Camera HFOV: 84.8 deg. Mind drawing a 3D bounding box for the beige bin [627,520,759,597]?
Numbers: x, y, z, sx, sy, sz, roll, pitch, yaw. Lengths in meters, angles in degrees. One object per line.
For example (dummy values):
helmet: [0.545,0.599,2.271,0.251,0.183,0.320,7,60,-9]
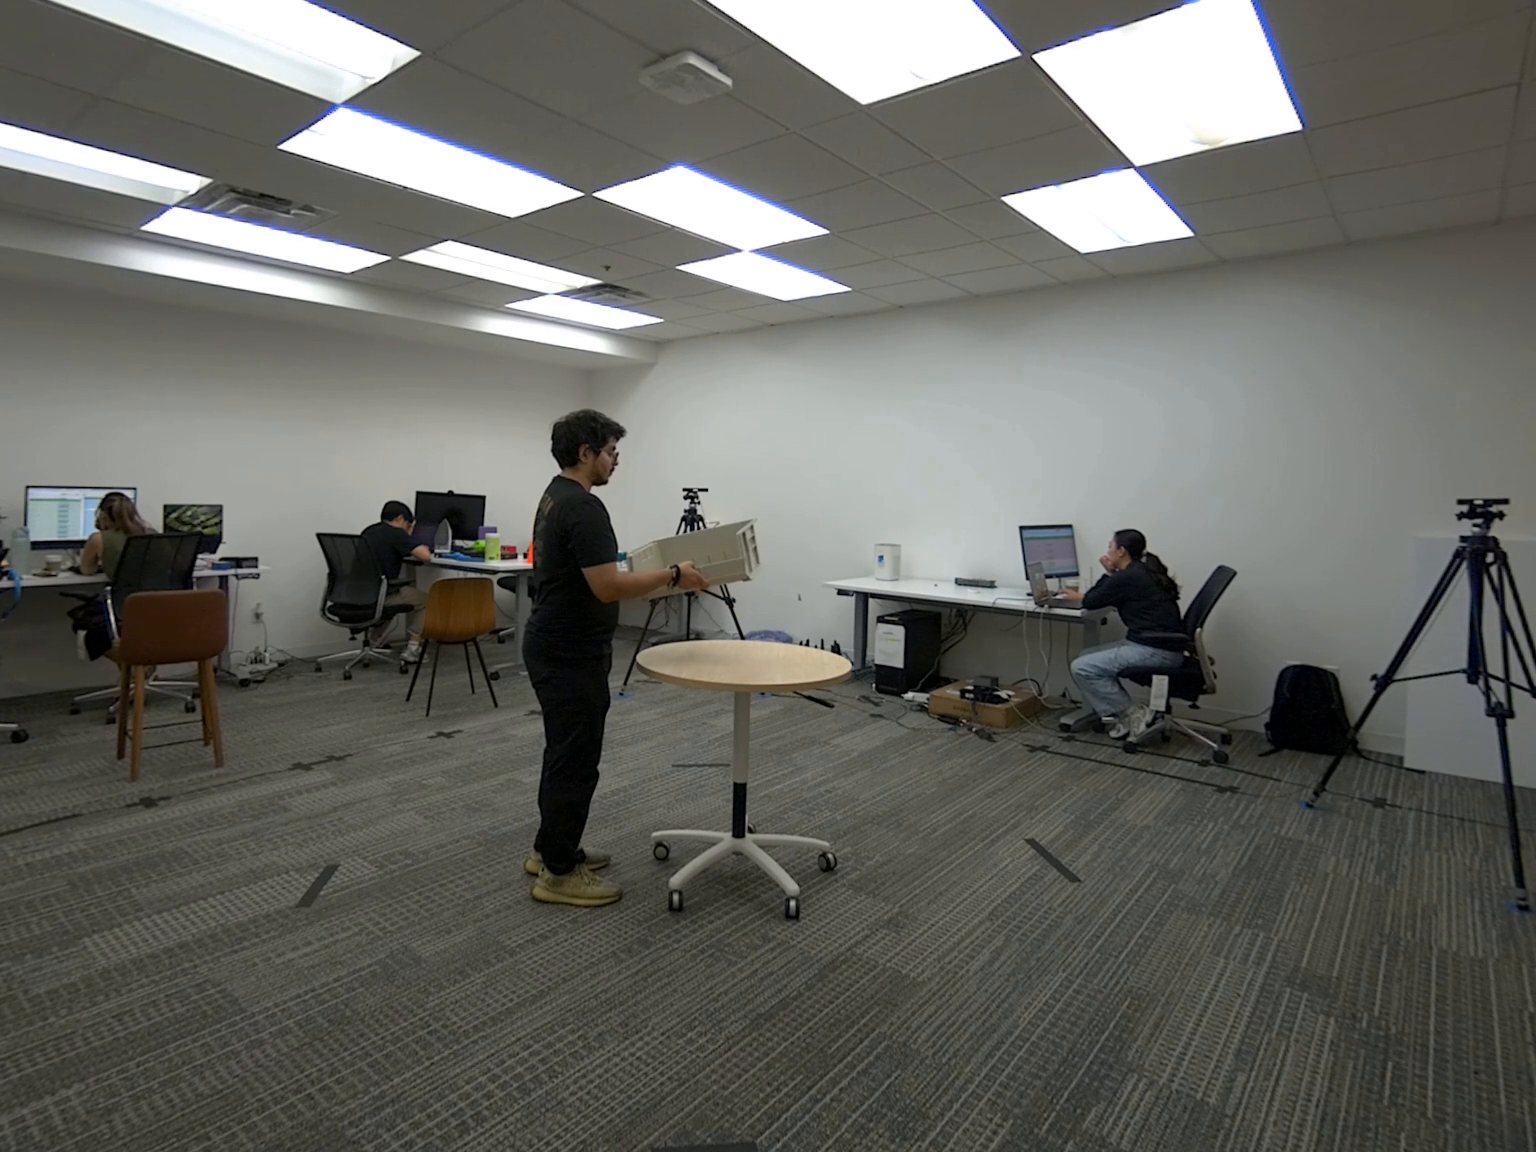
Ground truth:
beige bin: [-0.263,-0.050,3.080,0.427,0.188,0.376,-12,7,12]
